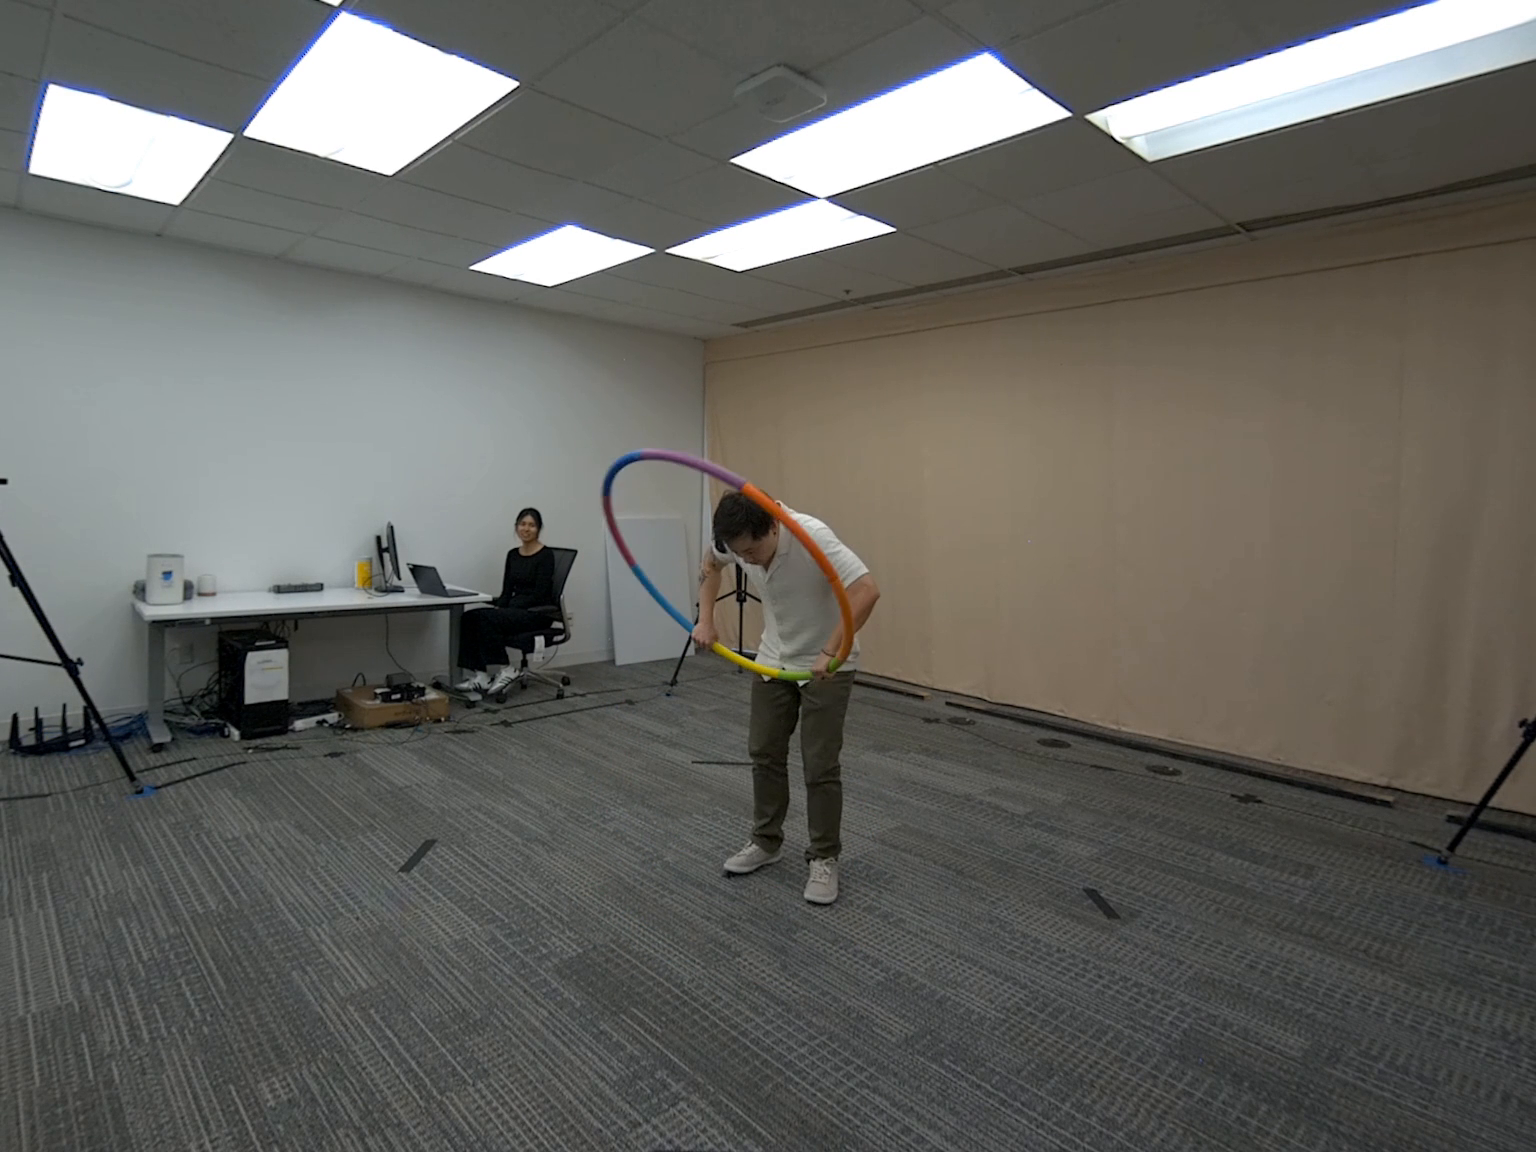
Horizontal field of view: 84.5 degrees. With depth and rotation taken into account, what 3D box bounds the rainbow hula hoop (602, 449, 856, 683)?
[{"bbox_3d":[-0.152,-0.004,2.751,1.004,0.953,0.035,6,44,45],"label":"rainbow hula hoop"}]
